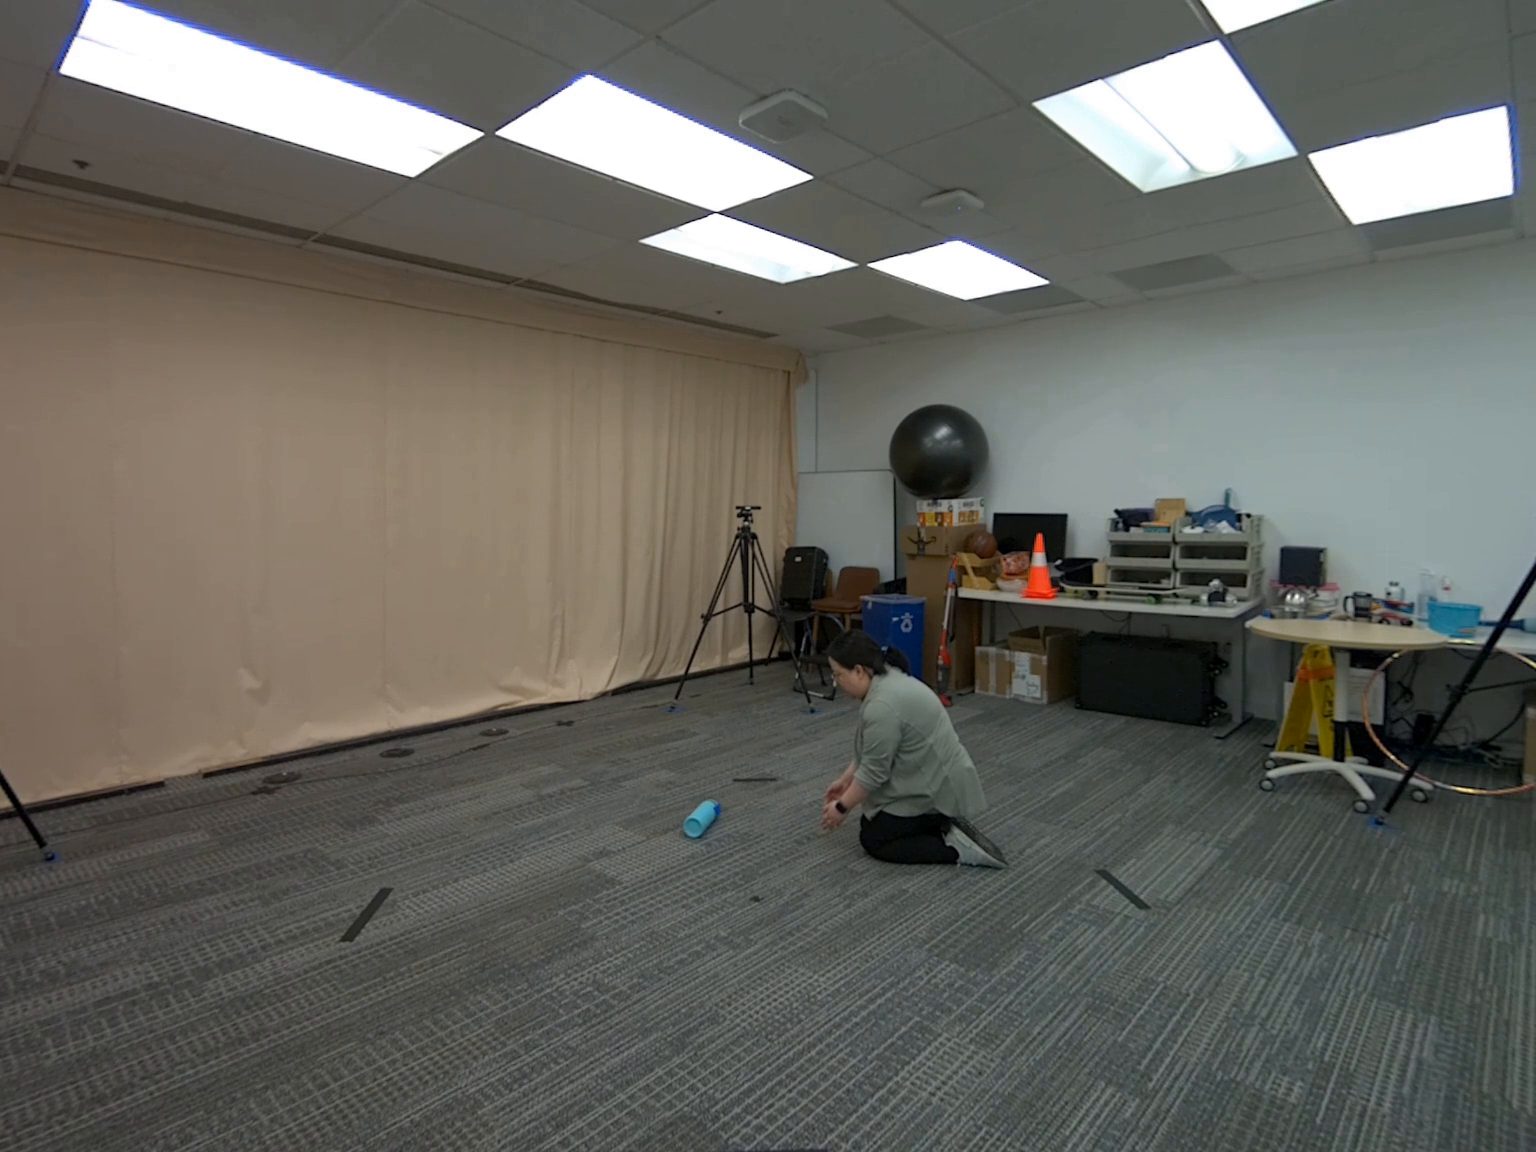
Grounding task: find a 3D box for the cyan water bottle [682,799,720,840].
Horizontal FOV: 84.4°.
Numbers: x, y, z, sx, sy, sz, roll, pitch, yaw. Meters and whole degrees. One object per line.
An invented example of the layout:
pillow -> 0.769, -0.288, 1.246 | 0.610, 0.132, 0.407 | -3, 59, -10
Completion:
cyan water bottle -> -0.278, 1.047, 3.669 | 0.094, 0.092, 0.279 | 1, 4, 14
